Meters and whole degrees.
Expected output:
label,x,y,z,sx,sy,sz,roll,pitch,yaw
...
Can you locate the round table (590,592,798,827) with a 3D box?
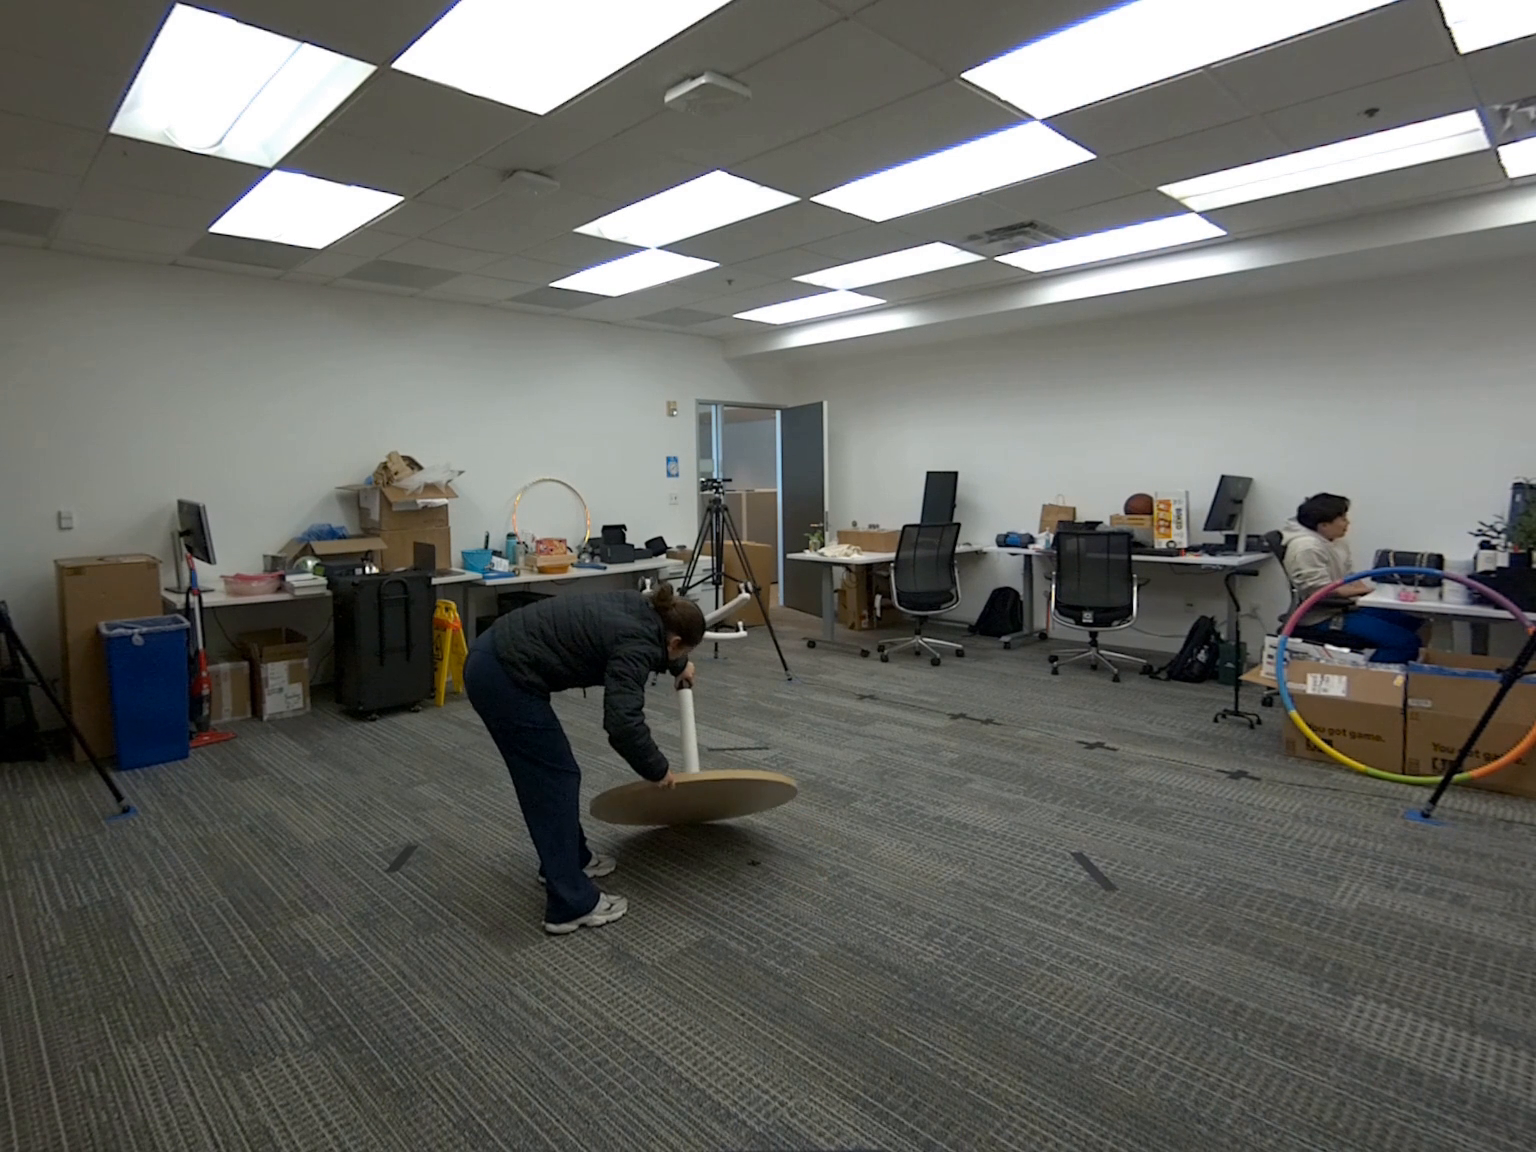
label,x,y,z,sx,sy,sz,roll,pitch,yaw
round table,-0.318,0.488,3.355,0.783,0.806,0.768,-5,-27,-4
